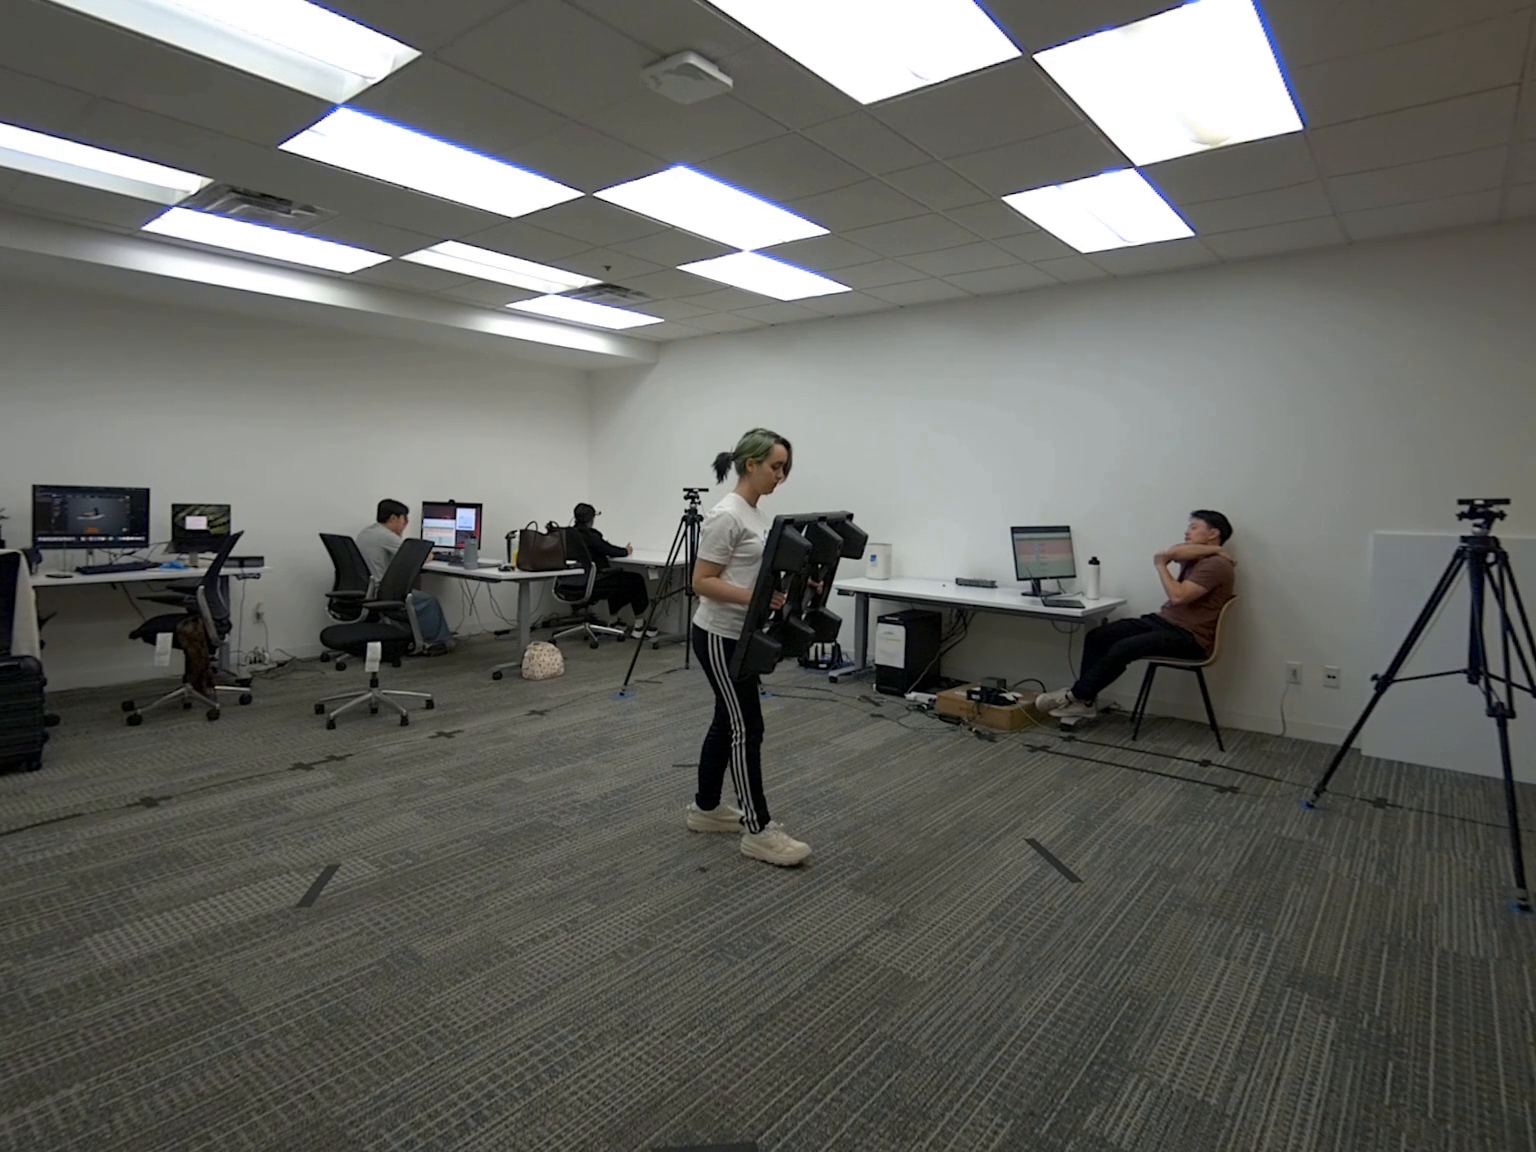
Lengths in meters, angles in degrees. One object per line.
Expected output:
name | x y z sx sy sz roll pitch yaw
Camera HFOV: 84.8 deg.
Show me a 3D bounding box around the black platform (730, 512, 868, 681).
black platform | 0.139 0.065 3.228 0.147 0.601 0.788 19 12 21
